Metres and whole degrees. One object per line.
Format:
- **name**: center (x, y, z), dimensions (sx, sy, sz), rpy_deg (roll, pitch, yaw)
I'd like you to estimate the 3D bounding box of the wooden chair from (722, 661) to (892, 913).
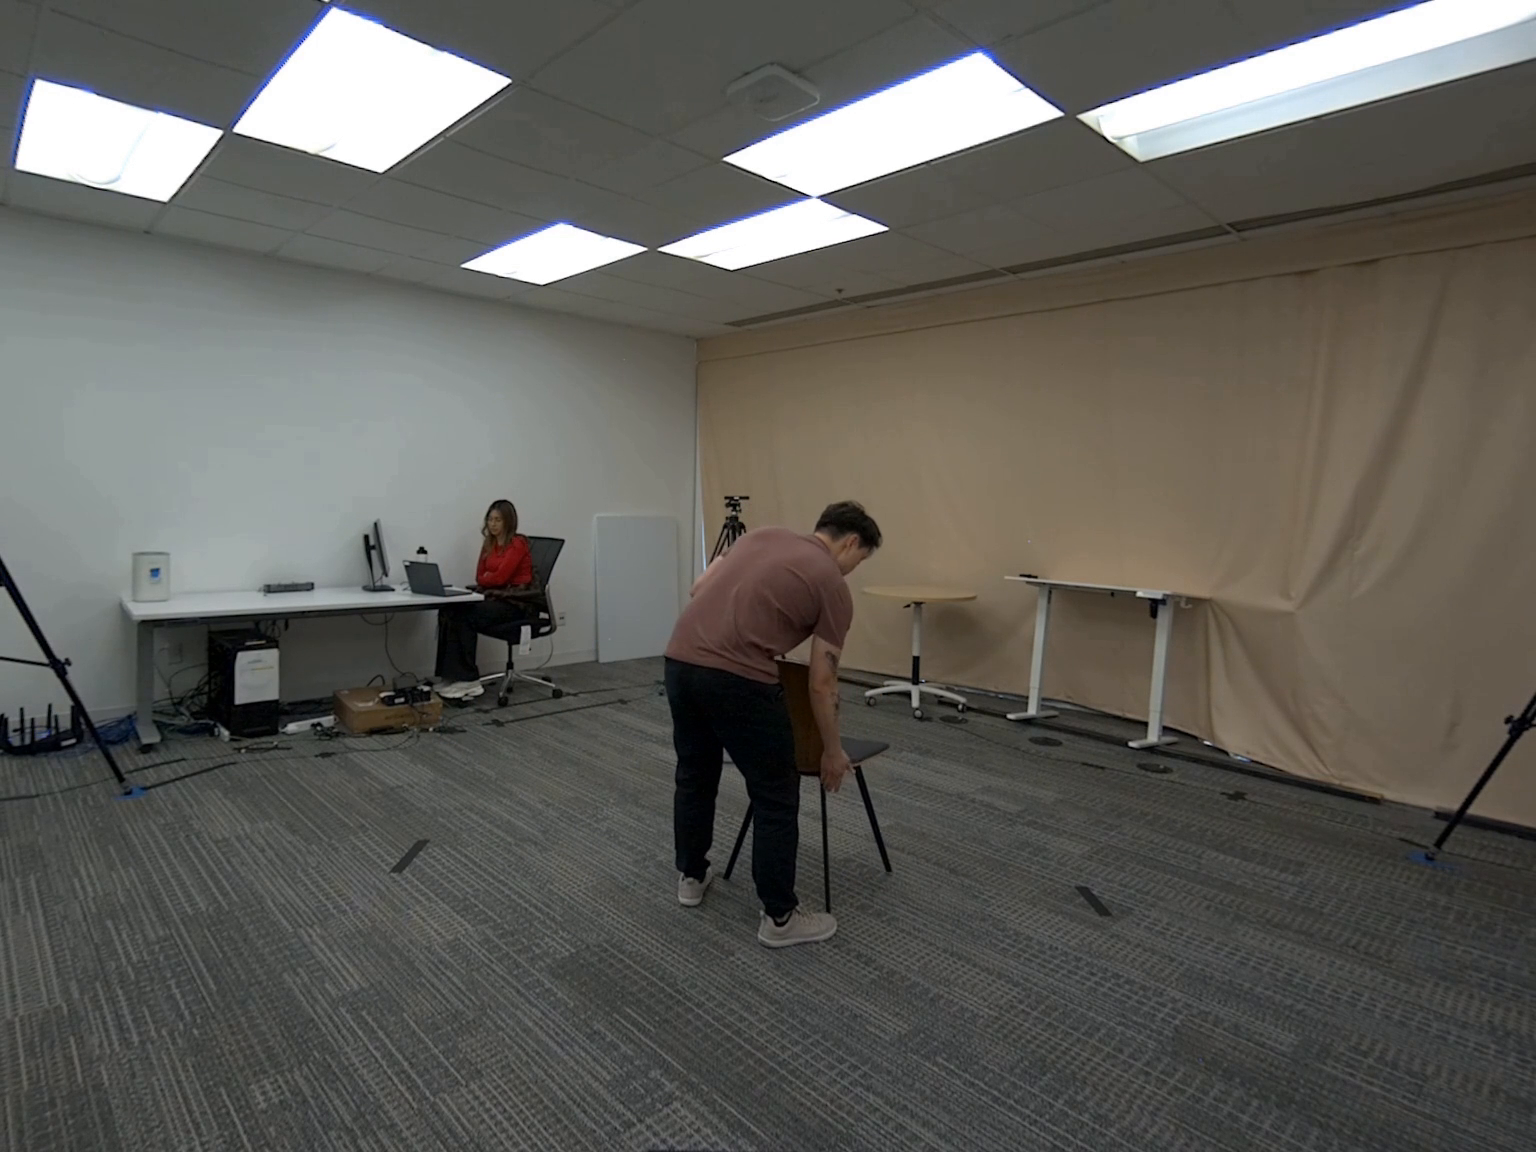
- **wooden chair**: center (0.152, 0.680, 3.098), dimensions (0.489, 0.873, 0.513), rpy_deg (3, 8, 37)
